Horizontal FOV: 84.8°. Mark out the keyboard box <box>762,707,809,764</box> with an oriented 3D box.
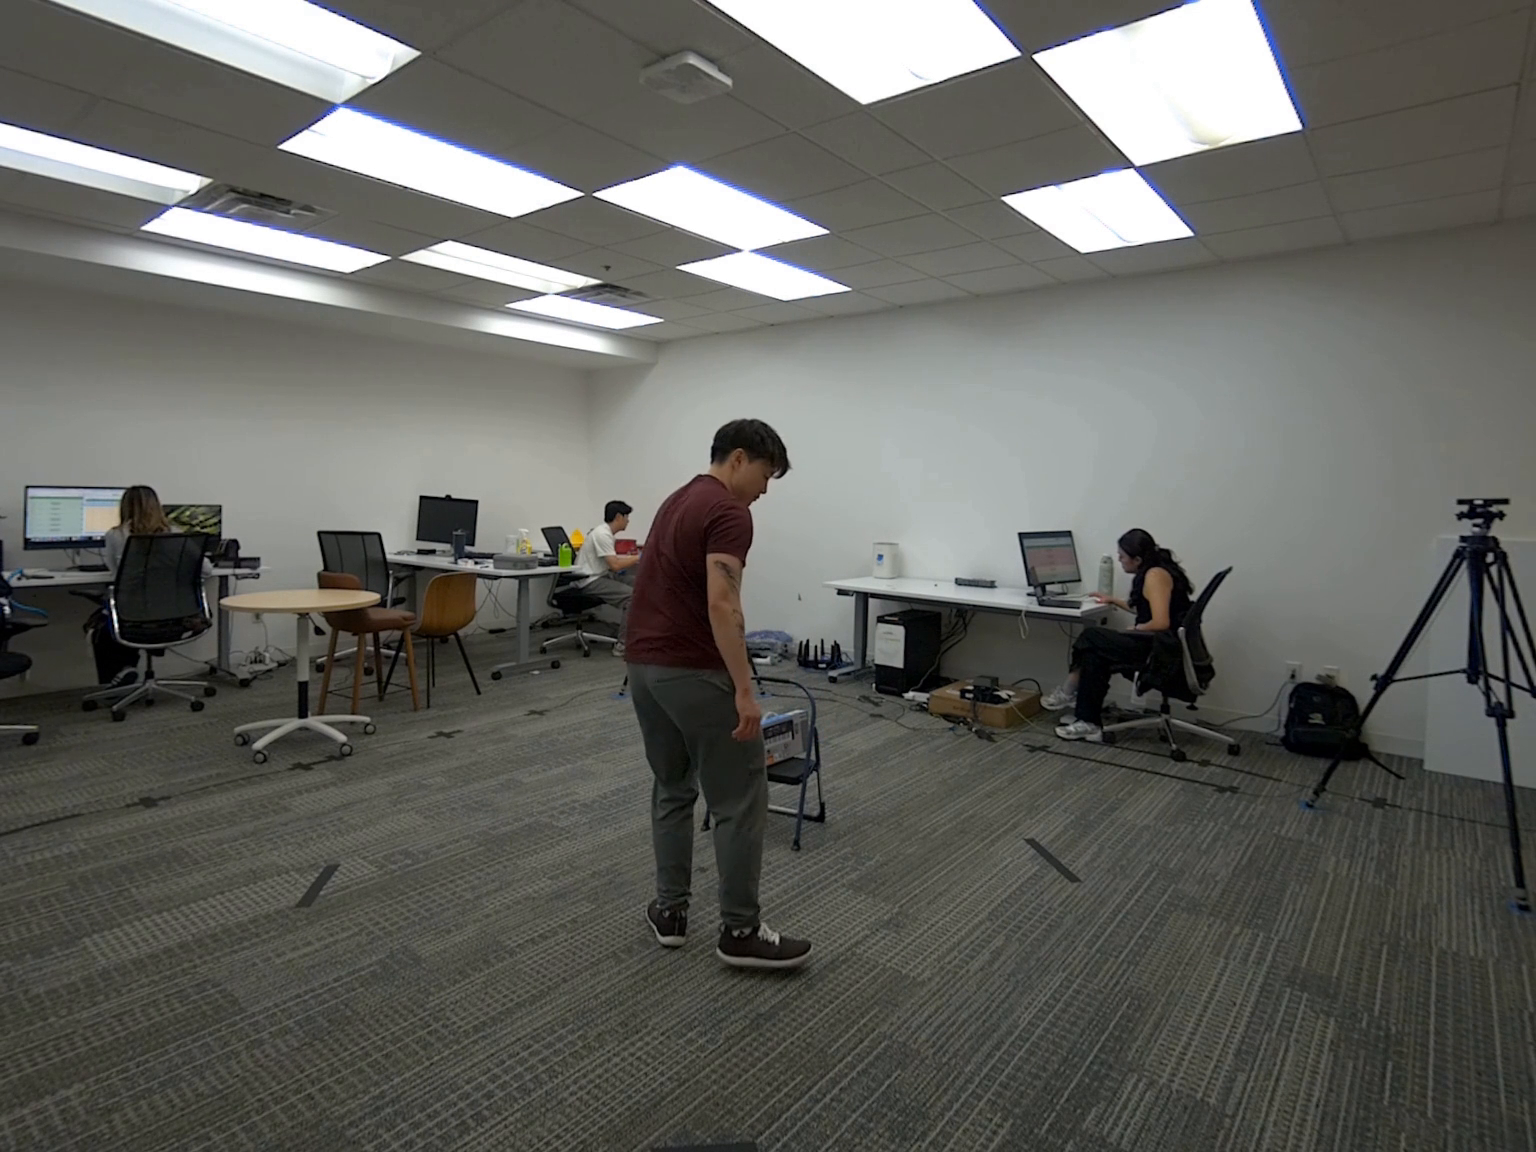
[{"bbox_3d":[0.005,0.677,3.532,0.061,0.176,0.424,-7,-2,41],"label":"keyboard box"}]
